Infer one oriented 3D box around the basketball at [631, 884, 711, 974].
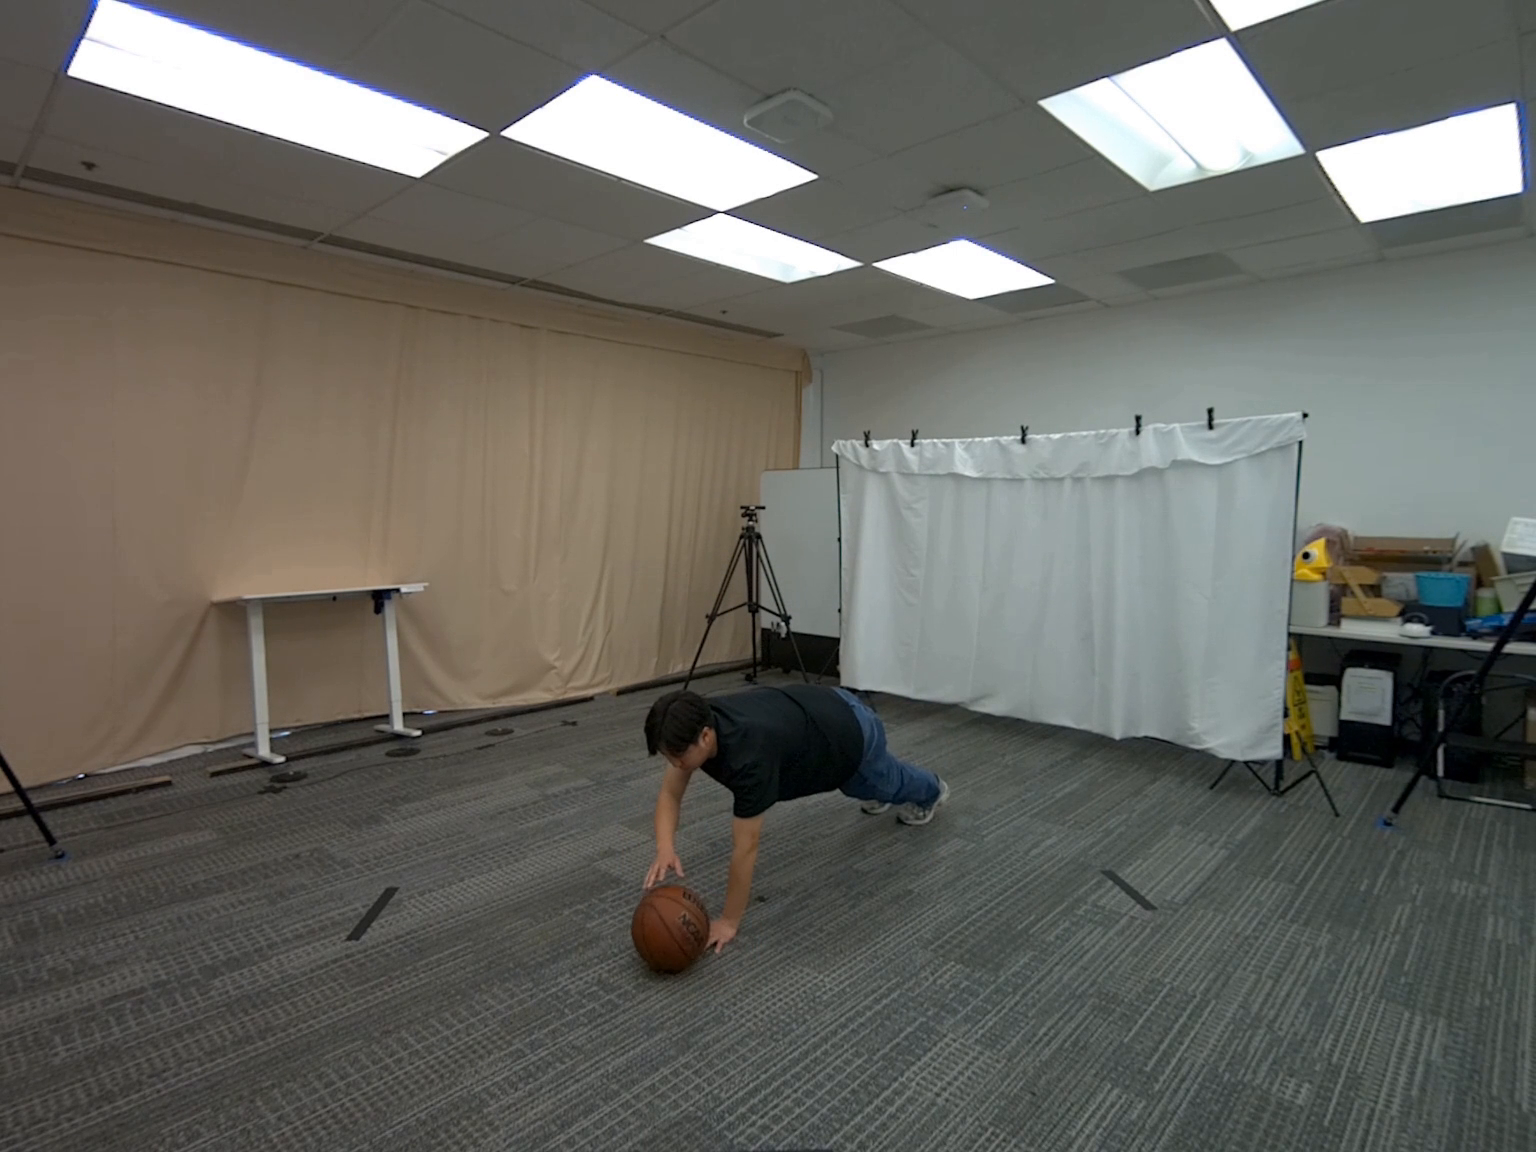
[{"bbox_3d":[-0.290,1.060,2.545,0.236,0.235,0.237,0,4,-2],"label":"basketball"}]
